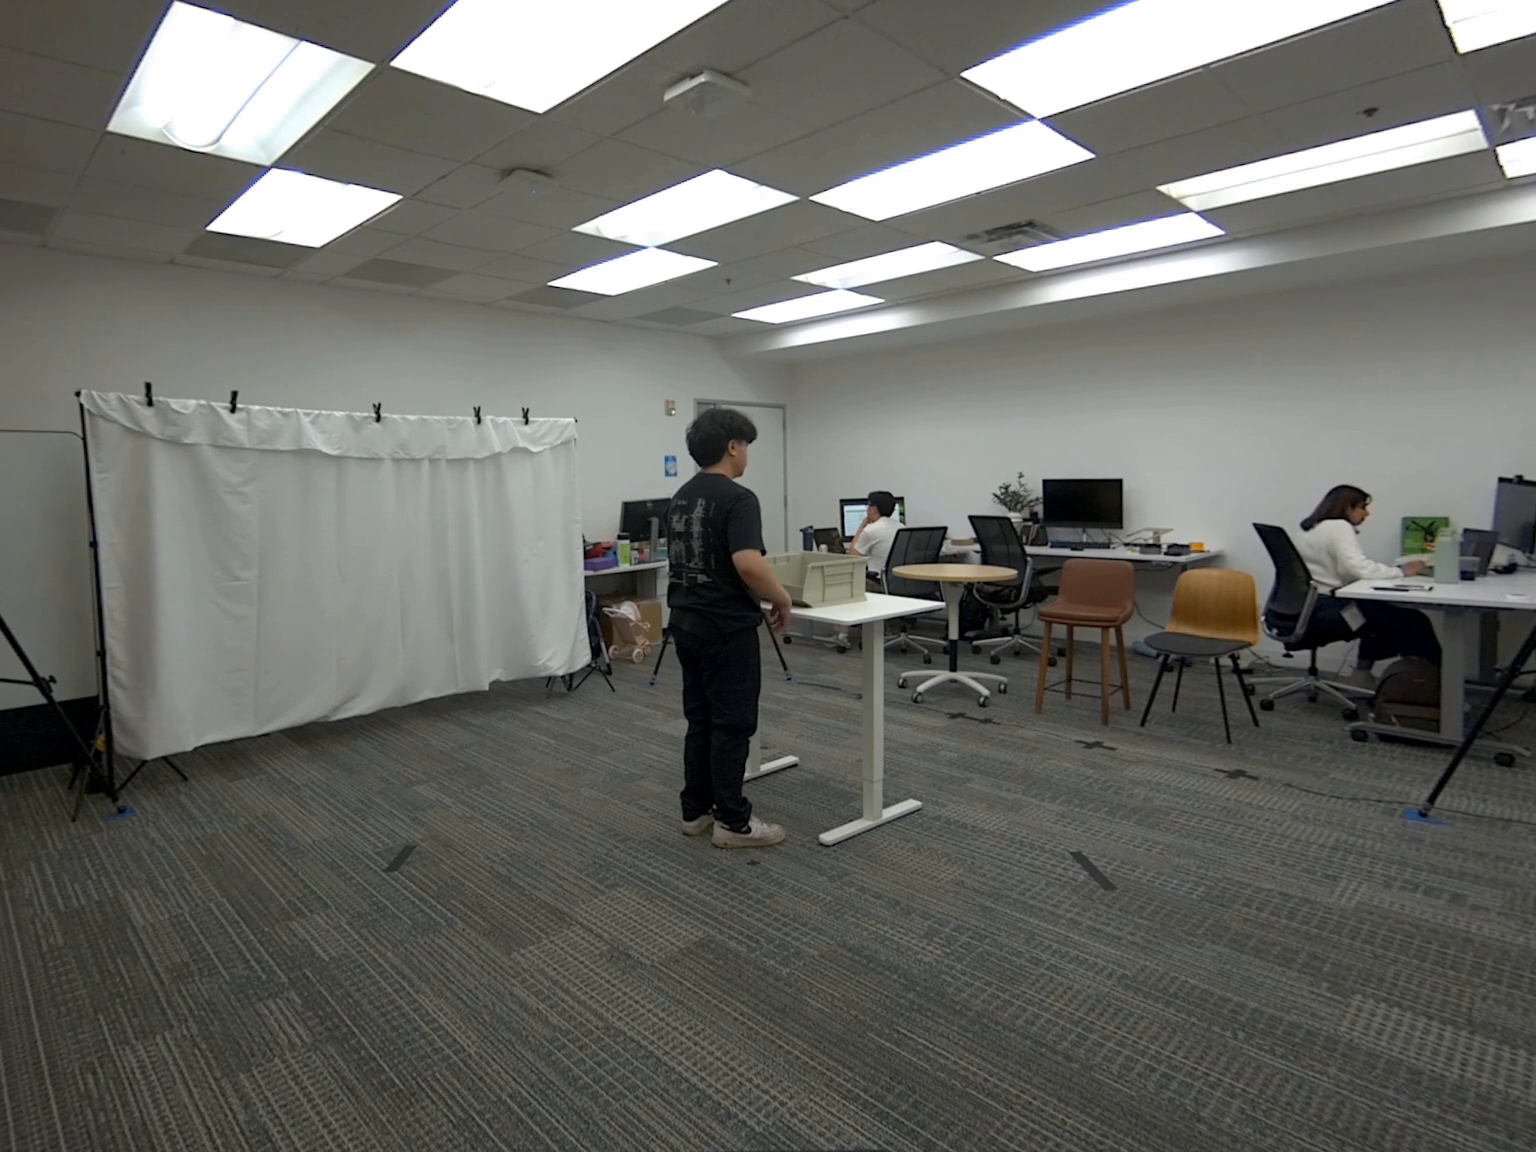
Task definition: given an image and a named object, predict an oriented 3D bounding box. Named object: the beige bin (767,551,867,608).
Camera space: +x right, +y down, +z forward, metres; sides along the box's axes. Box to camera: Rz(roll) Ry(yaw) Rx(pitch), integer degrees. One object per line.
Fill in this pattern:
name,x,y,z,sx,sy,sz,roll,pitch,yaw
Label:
beige bin,0.149,0.011,3.603,0.367,0.188,0.435,-5,7,-37
